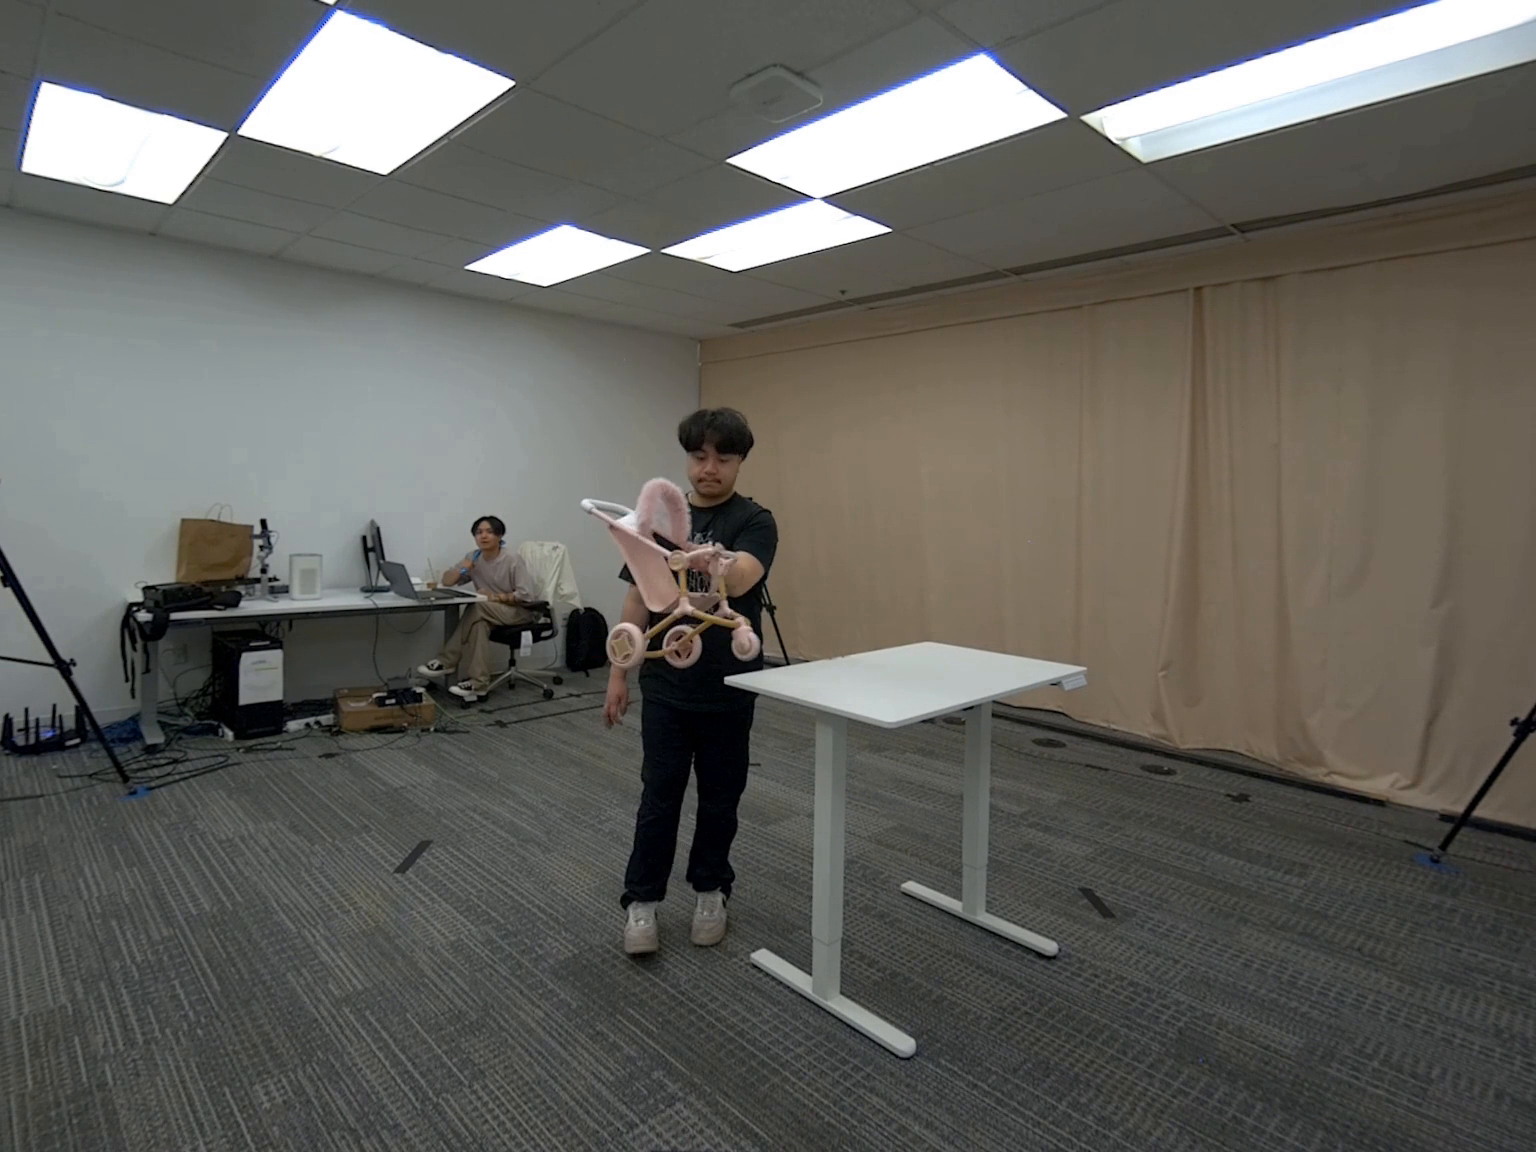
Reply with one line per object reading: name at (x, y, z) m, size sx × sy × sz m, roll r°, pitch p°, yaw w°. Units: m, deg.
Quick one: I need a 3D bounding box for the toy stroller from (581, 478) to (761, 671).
toy stroller at (-0.241, -0.006, 2.061) m, size 0.345 × 0.543 × 0.274 m, roll -25°, pitch -19°, yaw 28°
